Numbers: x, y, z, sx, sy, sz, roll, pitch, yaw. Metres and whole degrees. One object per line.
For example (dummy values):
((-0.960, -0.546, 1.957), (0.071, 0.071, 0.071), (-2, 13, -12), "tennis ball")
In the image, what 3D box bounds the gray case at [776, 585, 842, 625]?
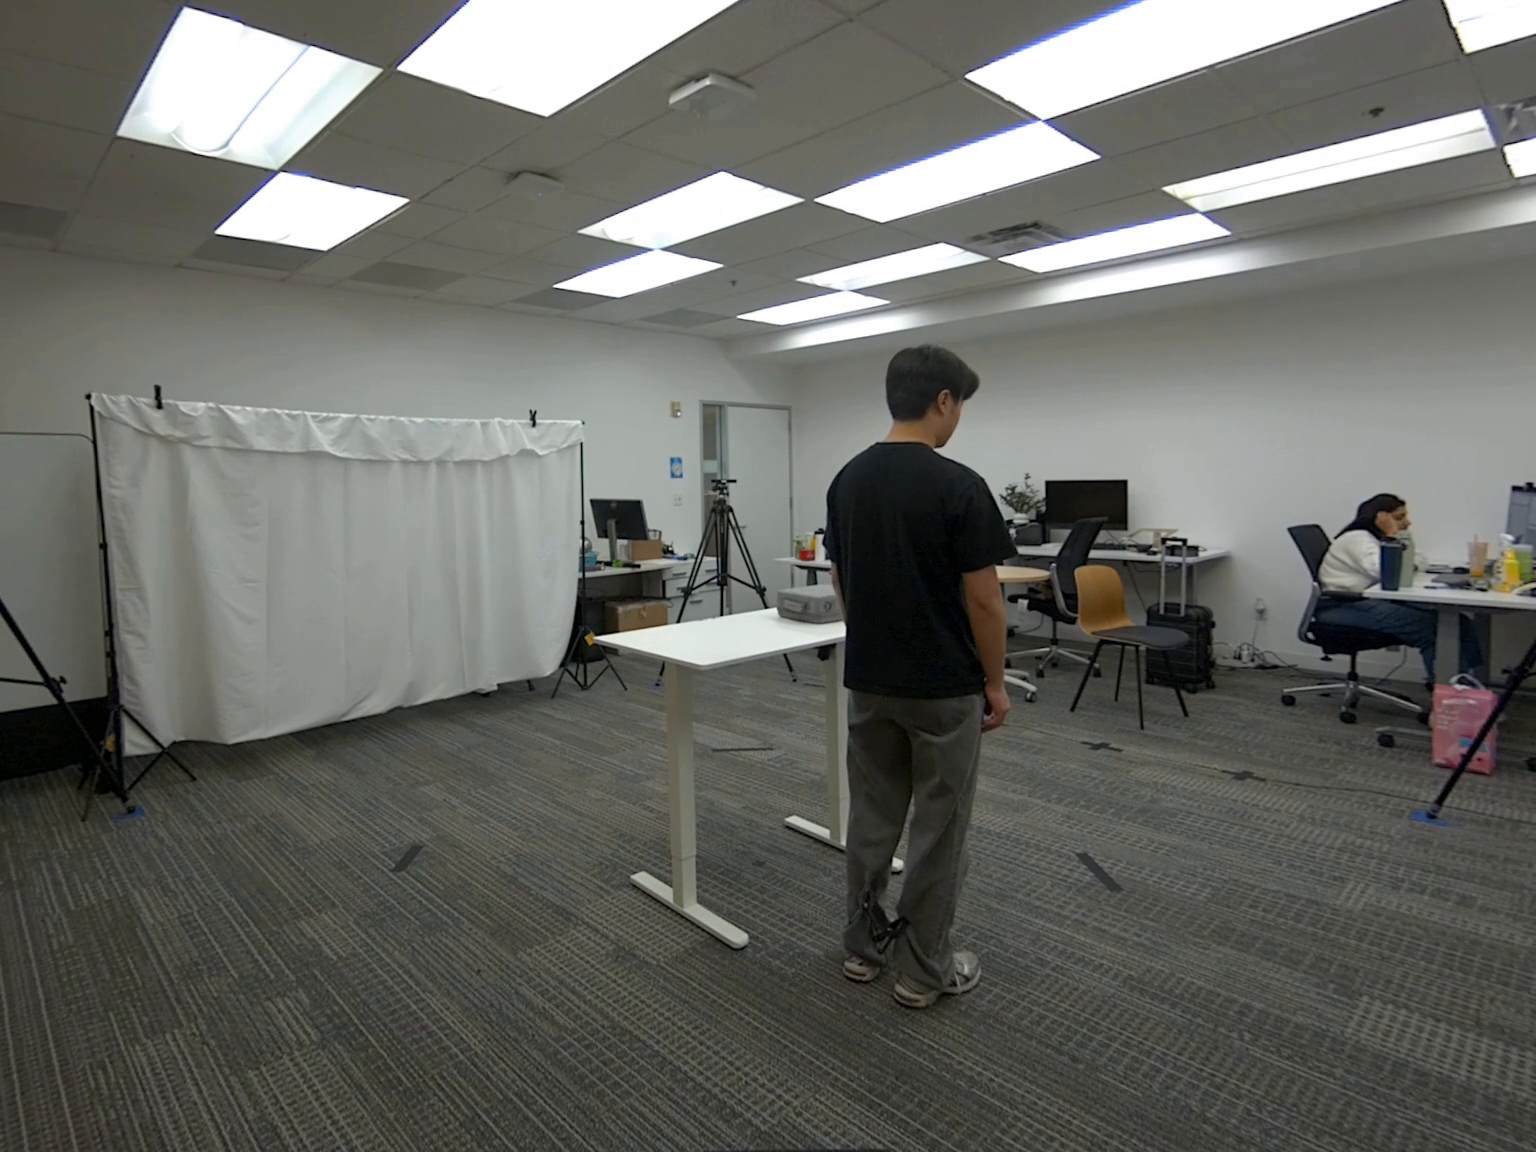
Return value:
((0.187, 0.100, 3.146), (0.280, 0.102, 0.271), (-6, 9, -36), "gray case")
